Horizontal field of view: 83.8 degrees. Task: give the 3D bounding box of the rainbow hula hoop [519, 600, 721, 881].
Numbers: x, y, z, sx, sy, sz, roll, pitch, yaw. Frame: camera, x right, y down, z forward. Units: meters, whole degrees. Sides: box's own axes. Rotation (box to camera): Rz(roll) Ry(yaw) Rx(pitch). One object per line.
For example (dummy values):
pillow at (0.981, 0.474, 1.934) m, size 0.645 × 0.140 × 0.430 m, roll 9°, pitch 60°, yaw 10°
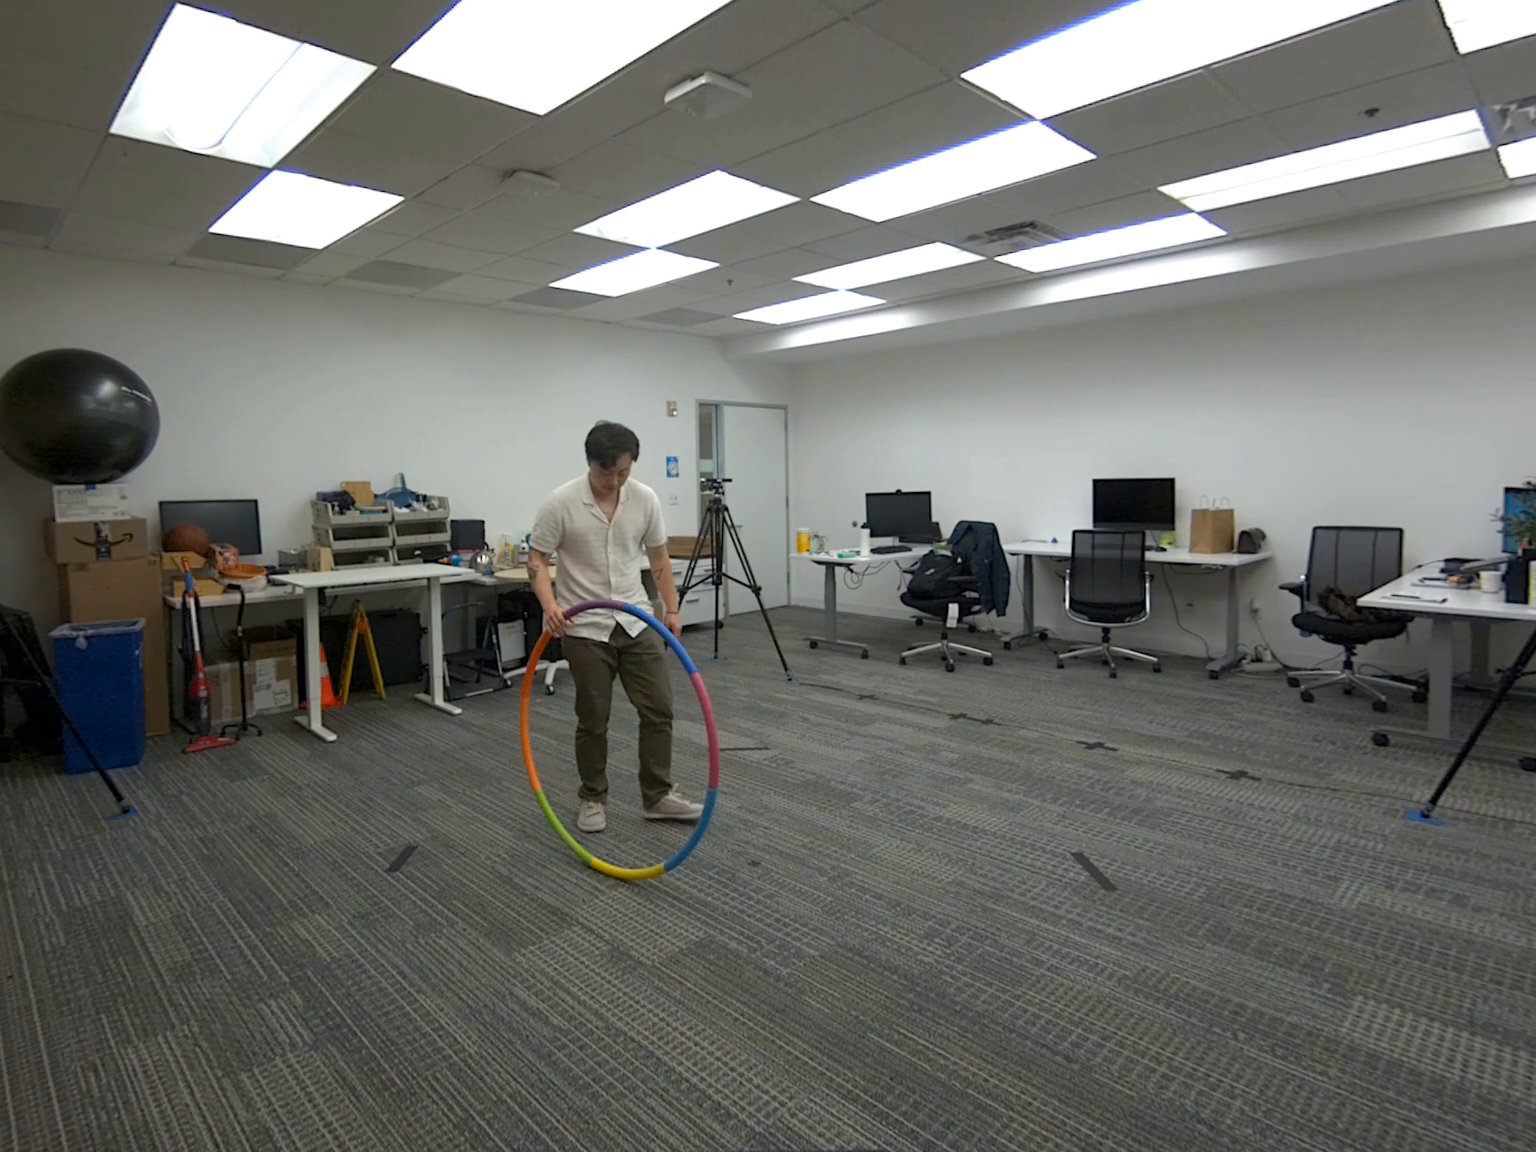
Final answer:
rainbow hula hoop at (-0.551, 0.575, 3.026) m, size 1.007 × 0.977 × 0.034 m, roll 3°, pitch 2°, yaw 37°
